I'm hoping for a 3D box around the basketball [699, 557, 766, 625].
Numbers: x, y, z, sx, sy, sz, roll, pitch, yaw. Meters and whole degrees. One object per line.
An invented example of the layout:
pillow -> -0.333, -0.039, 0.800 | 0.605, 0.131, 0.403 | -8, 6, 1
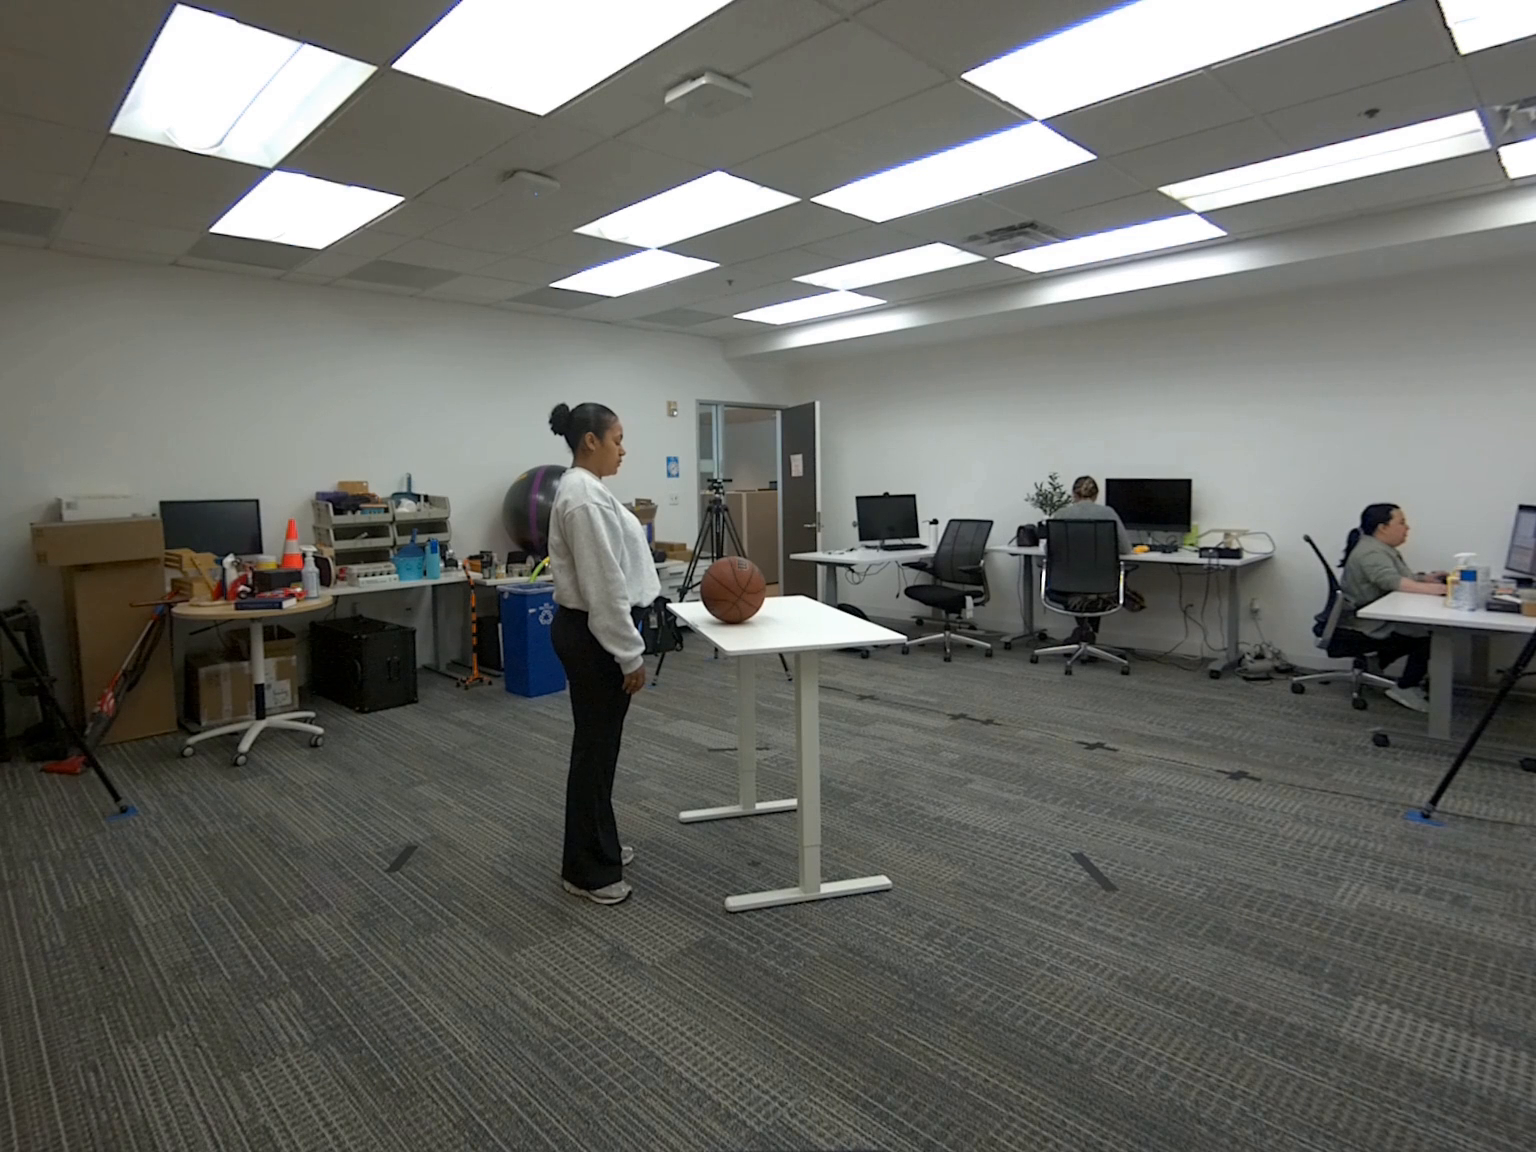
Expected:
basketball -> -0.131, 0.048, 3.073 | 0.236, 0.235, 0.237 | -1, 5, -2
